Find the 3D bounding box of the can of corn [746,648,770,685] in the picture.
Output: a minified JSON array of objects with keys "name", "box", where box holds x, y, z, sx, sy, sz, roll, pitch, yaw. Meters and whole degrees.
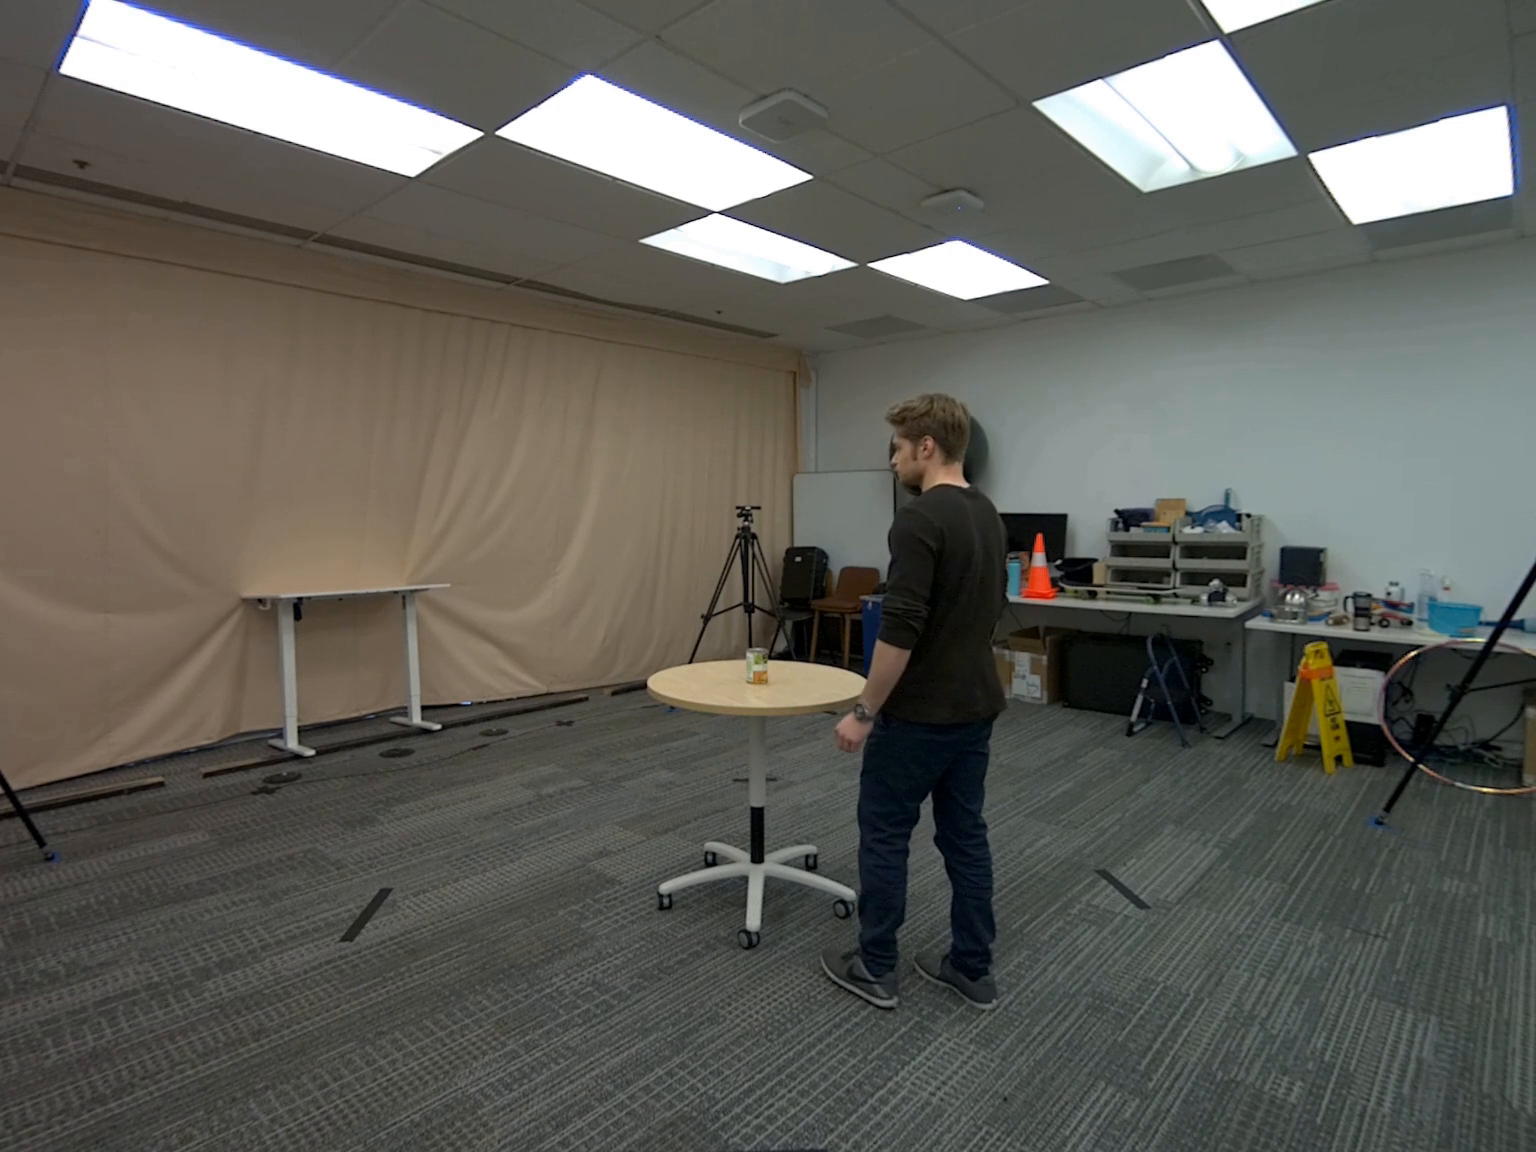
[{"name":"can of corn","box":[-0.030,0.310,2.900,0.074,0.111,0.074,1,5,-2]}]
